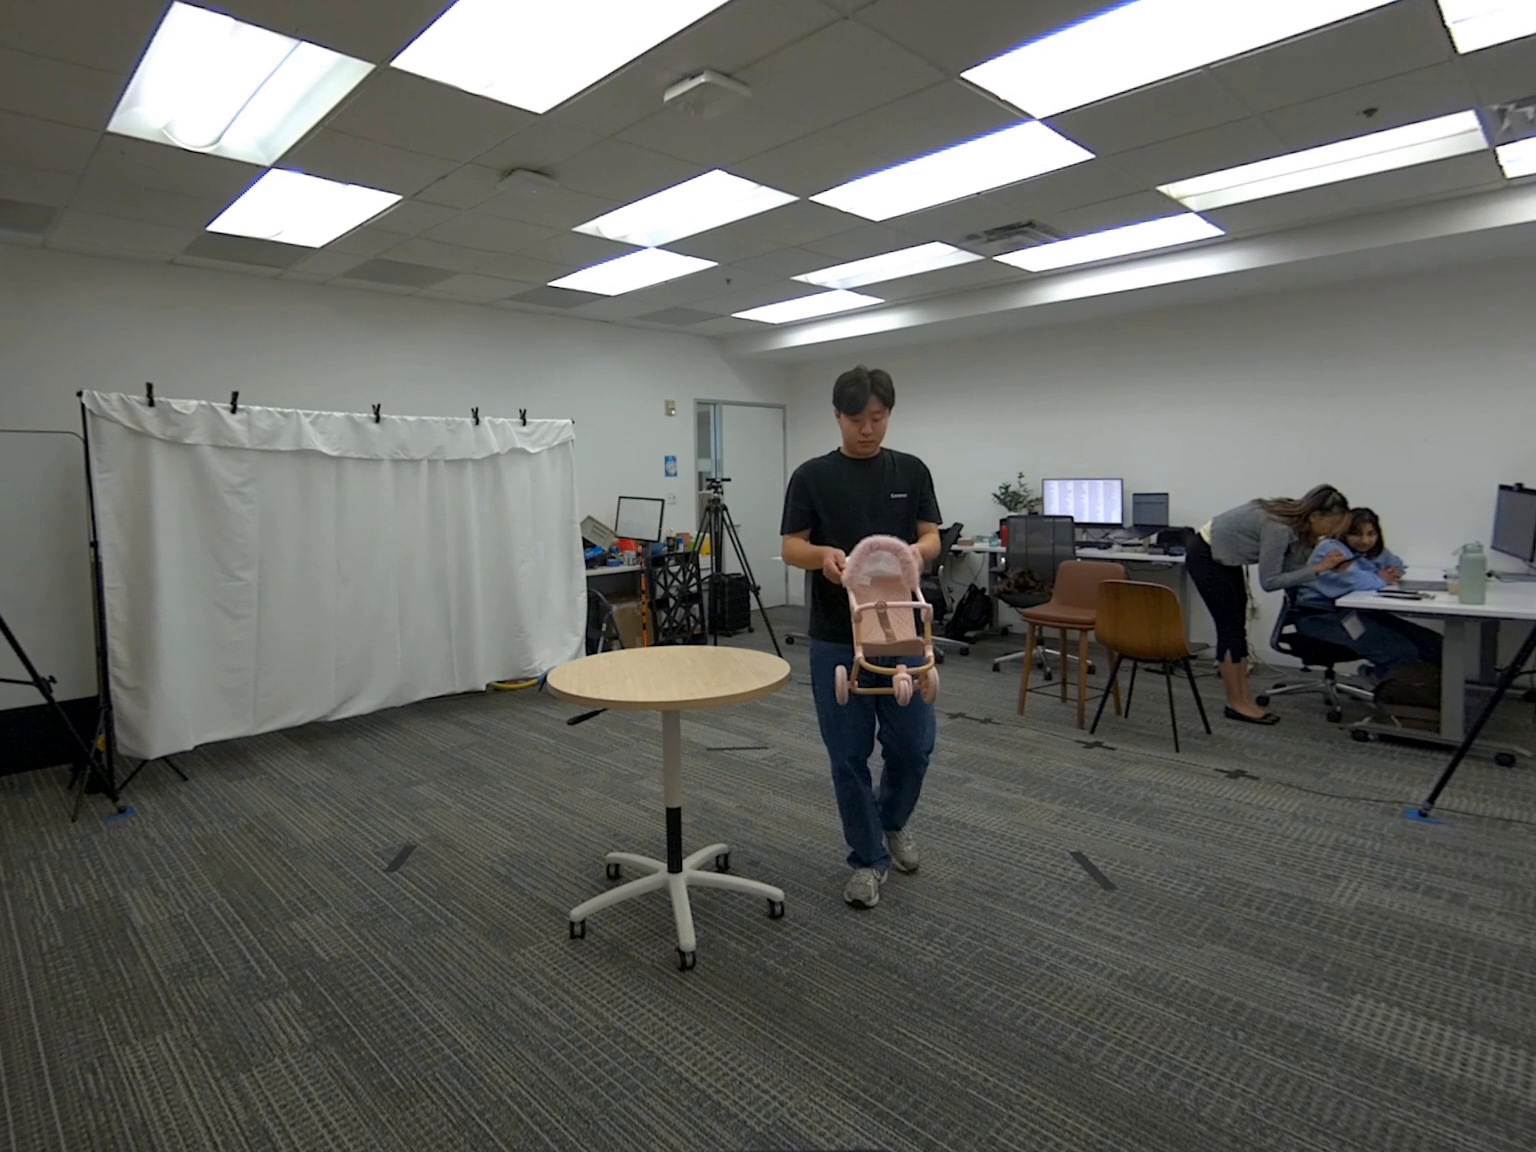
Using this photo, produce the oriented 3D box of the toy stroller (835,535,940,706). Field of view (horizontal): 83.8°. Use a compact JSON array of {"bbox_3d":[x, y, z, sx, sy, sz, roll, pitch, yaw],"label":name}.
[{"bbox_3d":[0.324,0.127,2.367,0.282,0.546,0.333,-3,-23,2],"label":"toy stroller"}]
